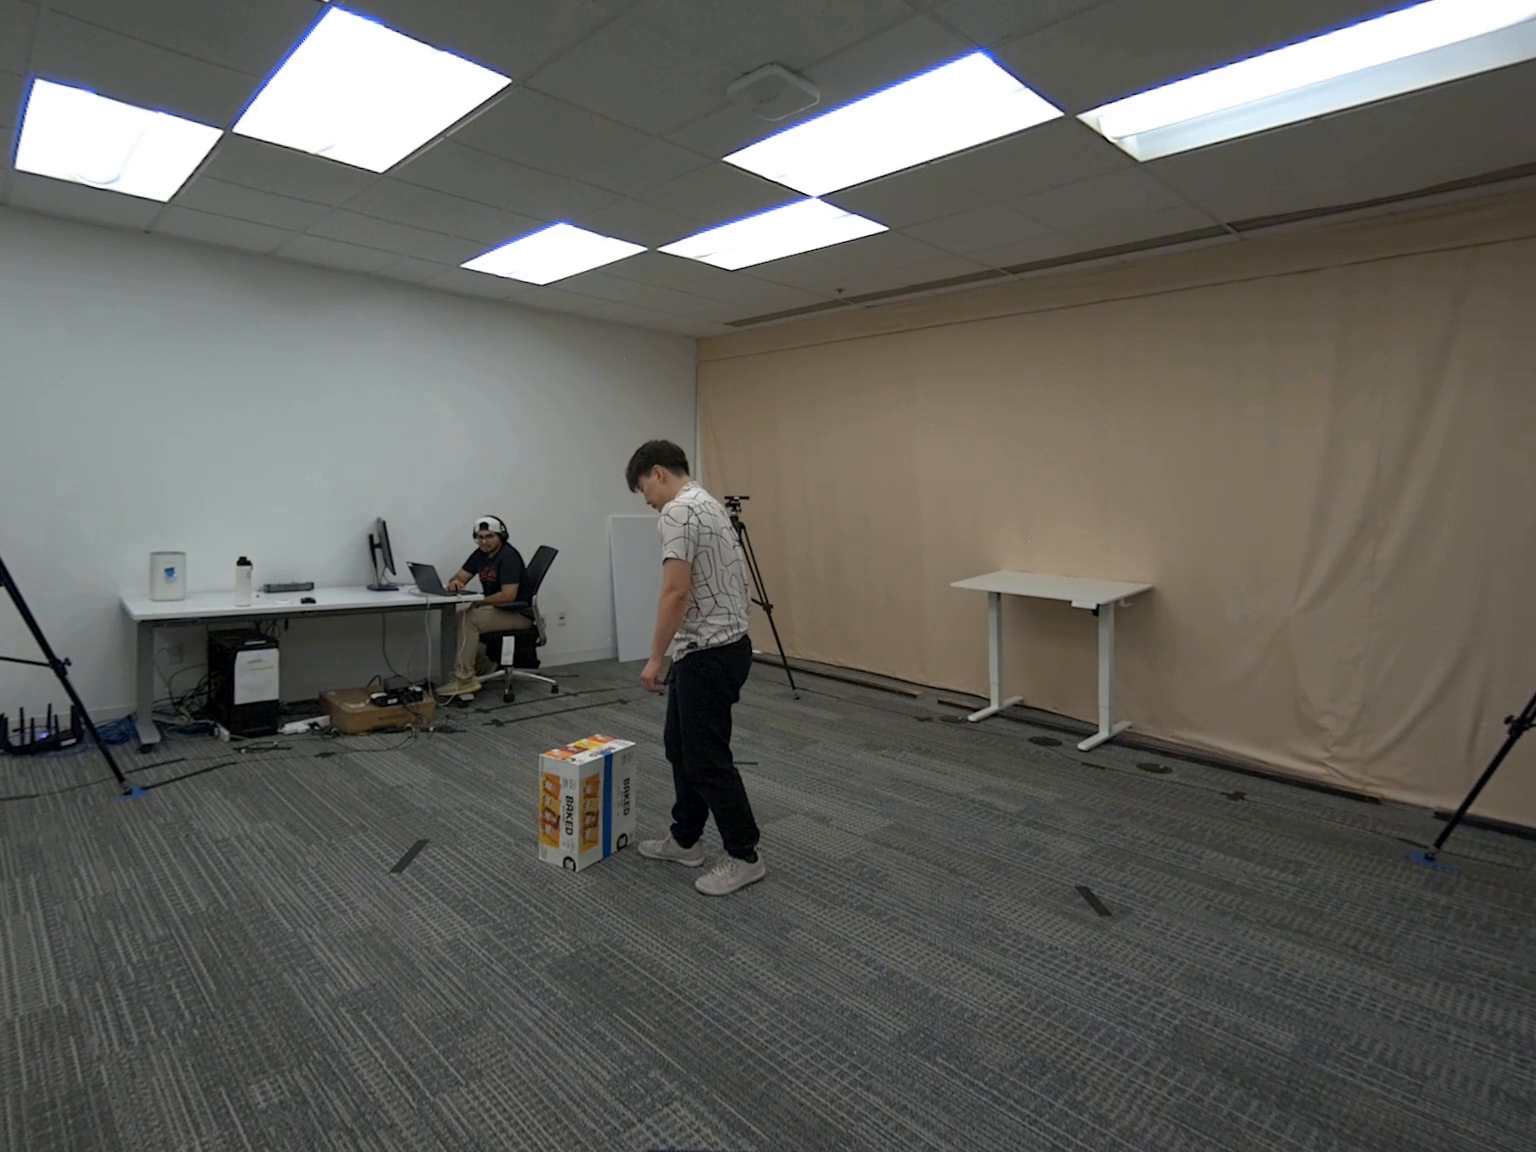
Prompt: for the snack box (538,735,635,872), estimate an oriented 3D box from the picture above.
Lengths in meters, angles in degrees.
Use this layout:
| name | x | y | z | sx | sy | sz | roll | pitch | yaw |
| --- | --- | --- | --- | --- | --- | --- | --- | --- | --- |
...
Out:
| name | x | y | z | sx | sy | sz | roll | pitch | yaw |
| --- | --- | --- | --- | --- | --- | --- | --- | --- | --- |
| snack box | -0.707 | 0.870 | 3.279 | 0.210 | 0.404 | 0.334 | 4 | 4 | 30 |
